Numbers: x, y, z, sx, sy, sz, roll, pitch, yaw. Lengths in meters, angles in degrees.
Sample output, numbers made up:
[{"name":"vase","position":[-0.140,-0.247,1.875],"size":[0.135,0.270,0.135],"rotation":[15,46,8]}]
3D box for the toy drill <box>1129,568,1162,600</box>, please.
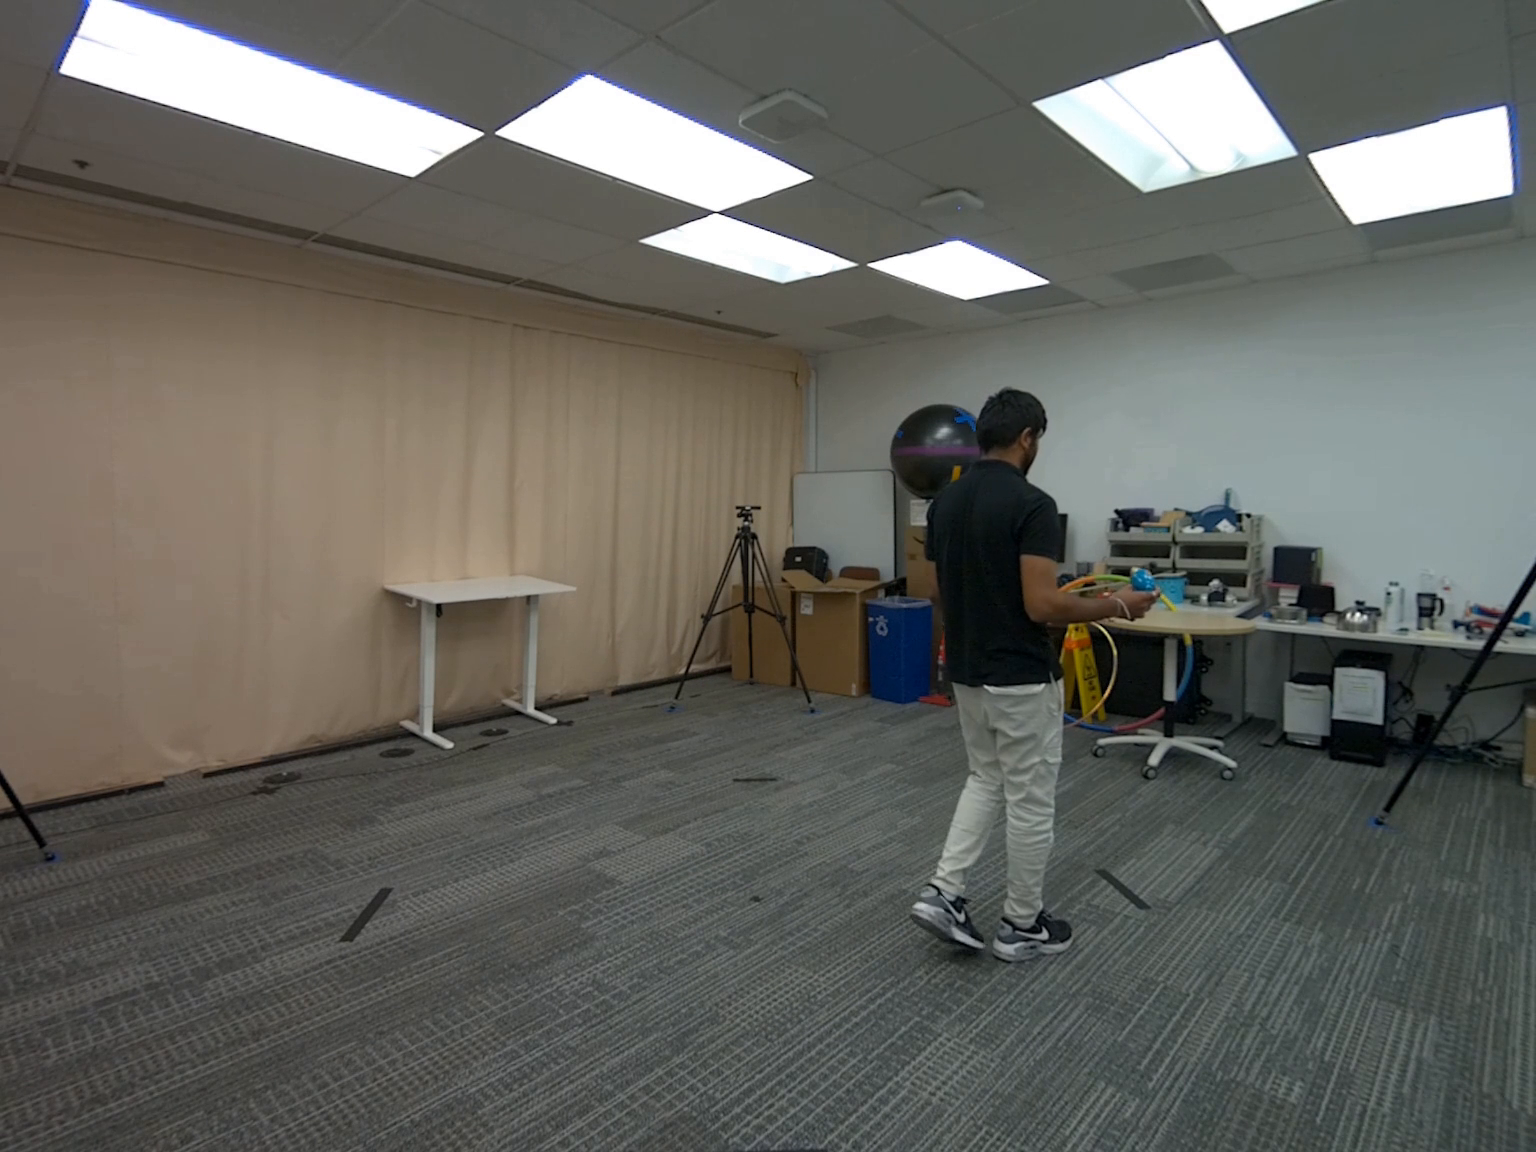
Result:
[{"name":"toy drill","position":[1.081,0.038,2.525],"size":[0.060,0.146,0.172],"rotation":[22,18,-8]}]
